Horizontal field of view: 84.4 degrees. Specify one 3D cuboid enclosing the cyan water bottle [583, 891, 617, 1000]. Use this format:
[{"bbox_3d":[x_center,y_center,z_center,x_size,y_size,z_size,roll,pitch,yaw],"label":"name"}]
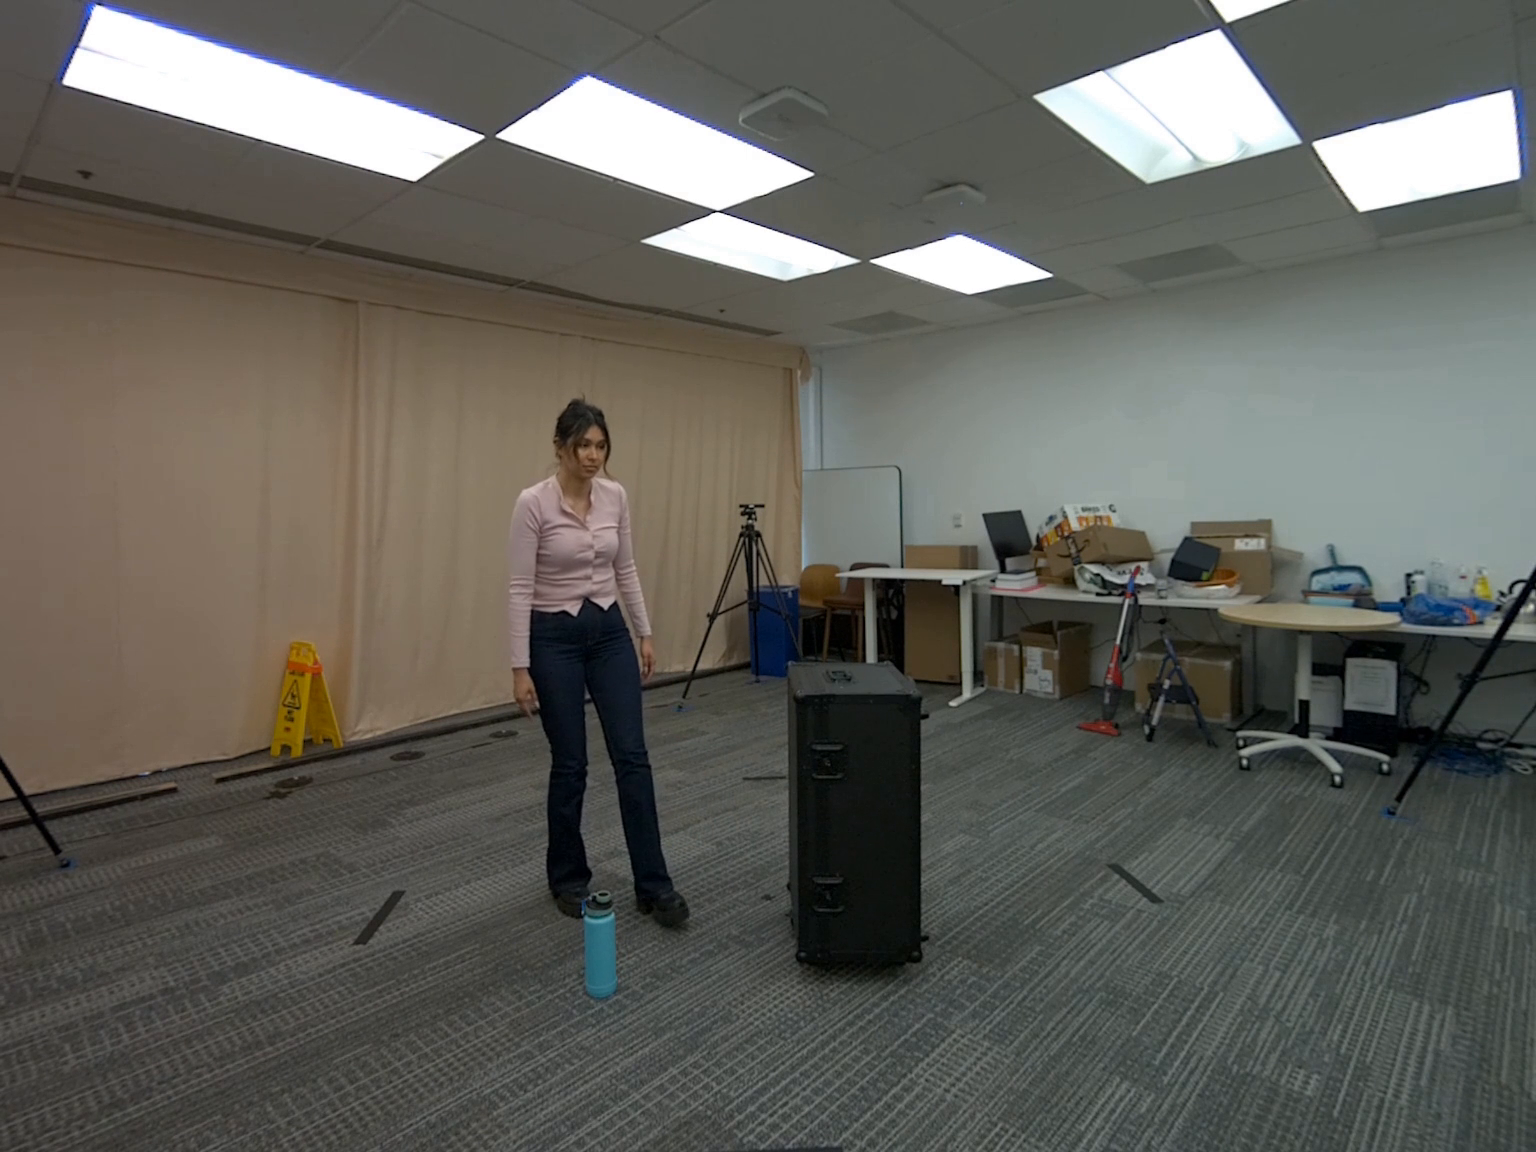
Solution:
[{"bbox_3d":[-0.483,1.054,2.438,0.092,0.283,0.092,-2,1,-2],"label":"cyan water bottle"}]
